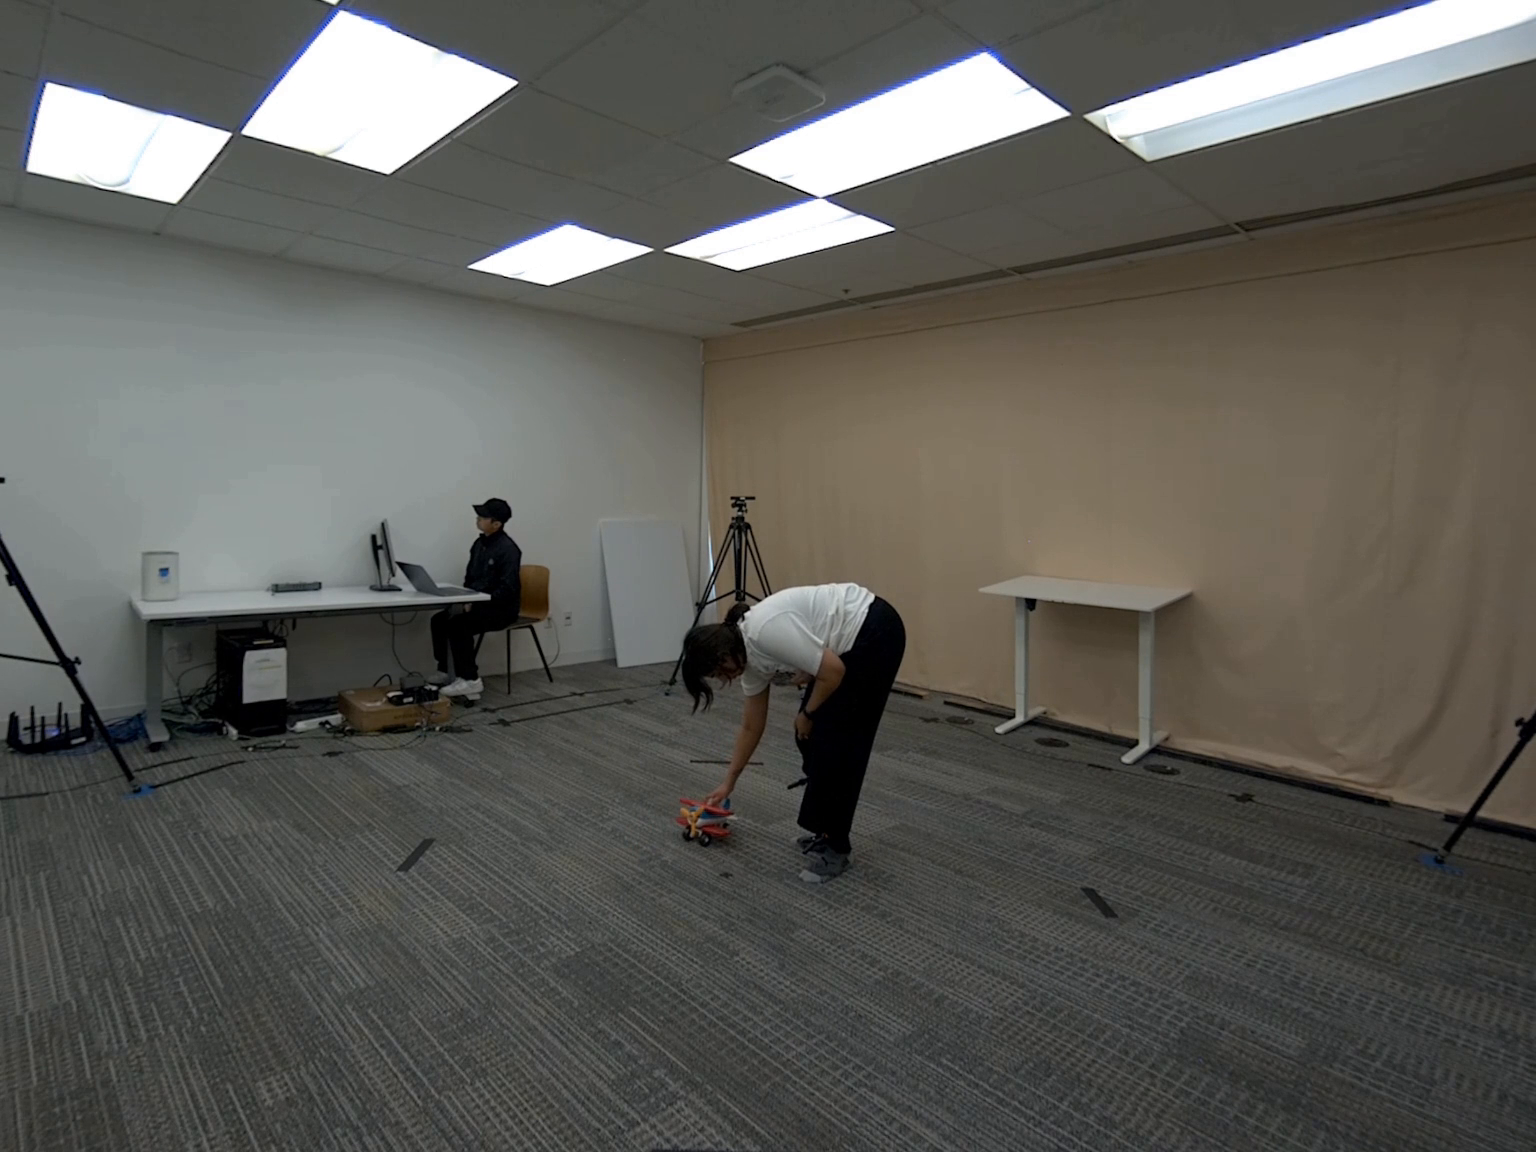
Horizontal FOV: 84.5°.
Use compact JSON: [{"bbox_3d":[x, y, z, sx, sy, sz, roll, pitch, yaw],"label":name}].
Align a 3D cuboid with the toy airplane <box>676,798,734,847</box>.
[{"bbox_3d":[-0.264,0.994,3.464,0.253,0.156,0.258,2,5,7],"label":"toy airplane"}]
